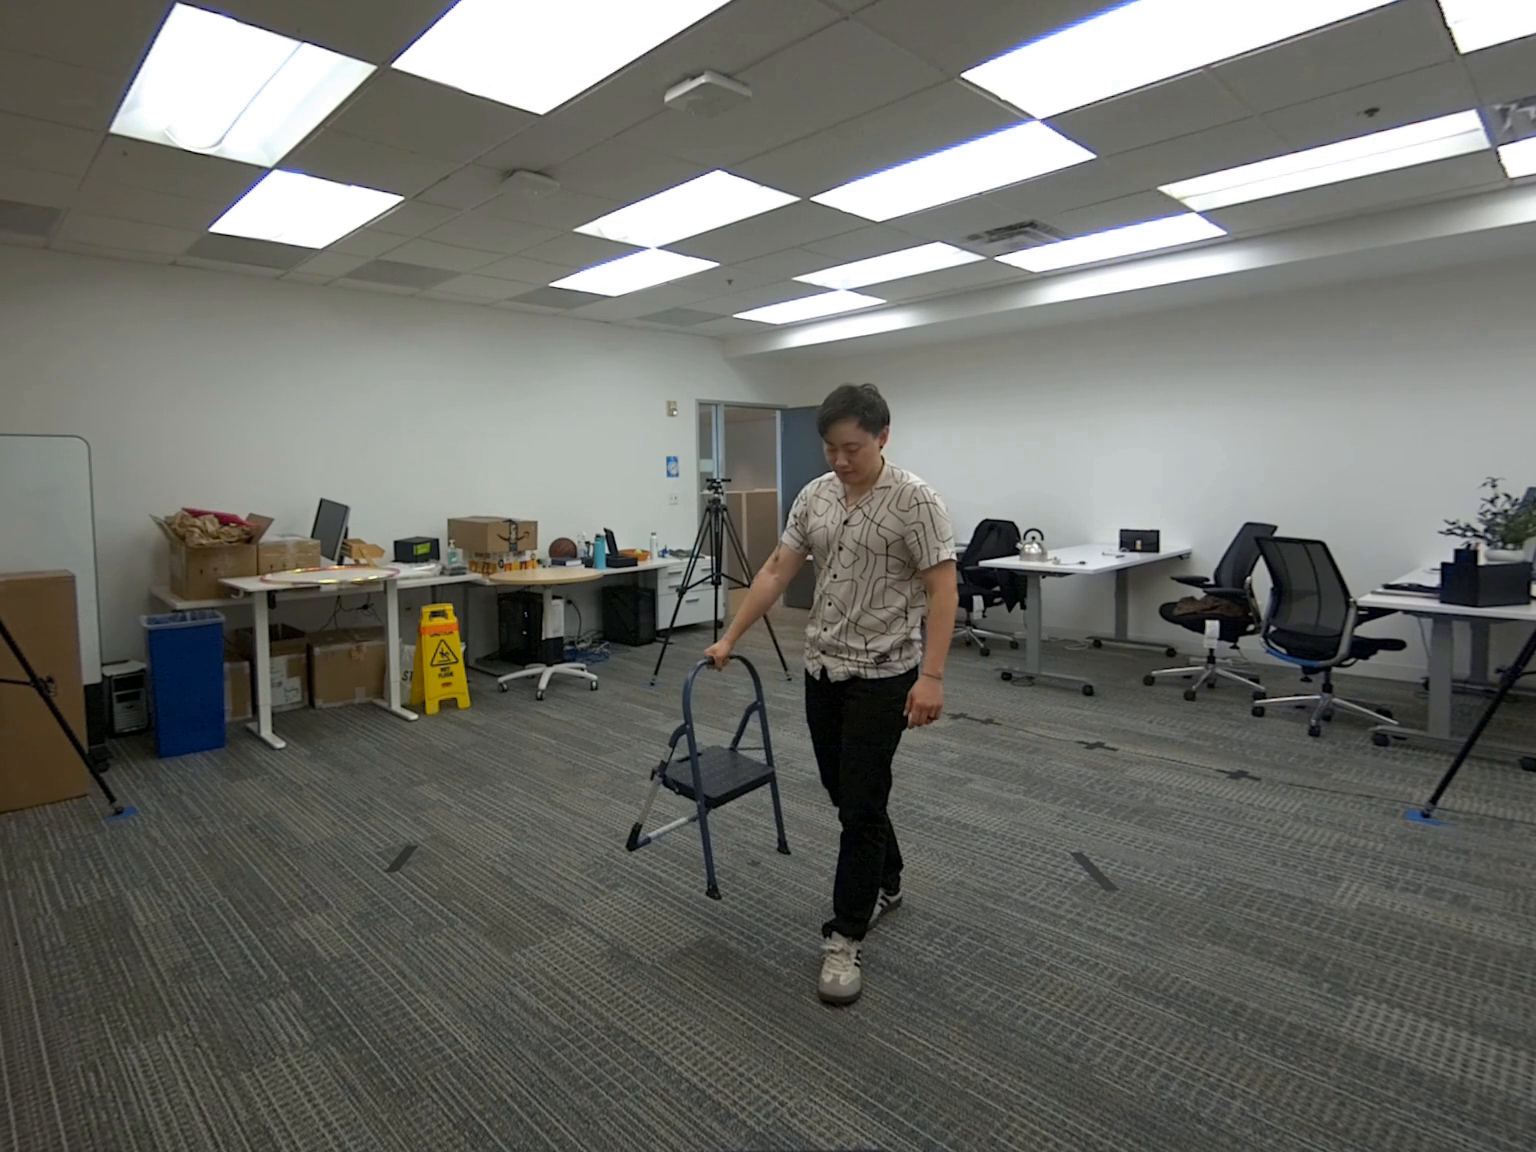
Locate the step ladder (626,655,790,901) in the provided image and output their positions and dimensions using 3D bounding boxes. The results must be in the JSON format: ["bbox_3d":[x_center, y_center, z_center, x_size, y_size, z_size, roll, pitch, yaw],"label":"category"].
[{"bbox_3d":[-0.119,0.559,2.603,0.360,0.603,0.419,13,7,31],"label":"step ladder"}]
